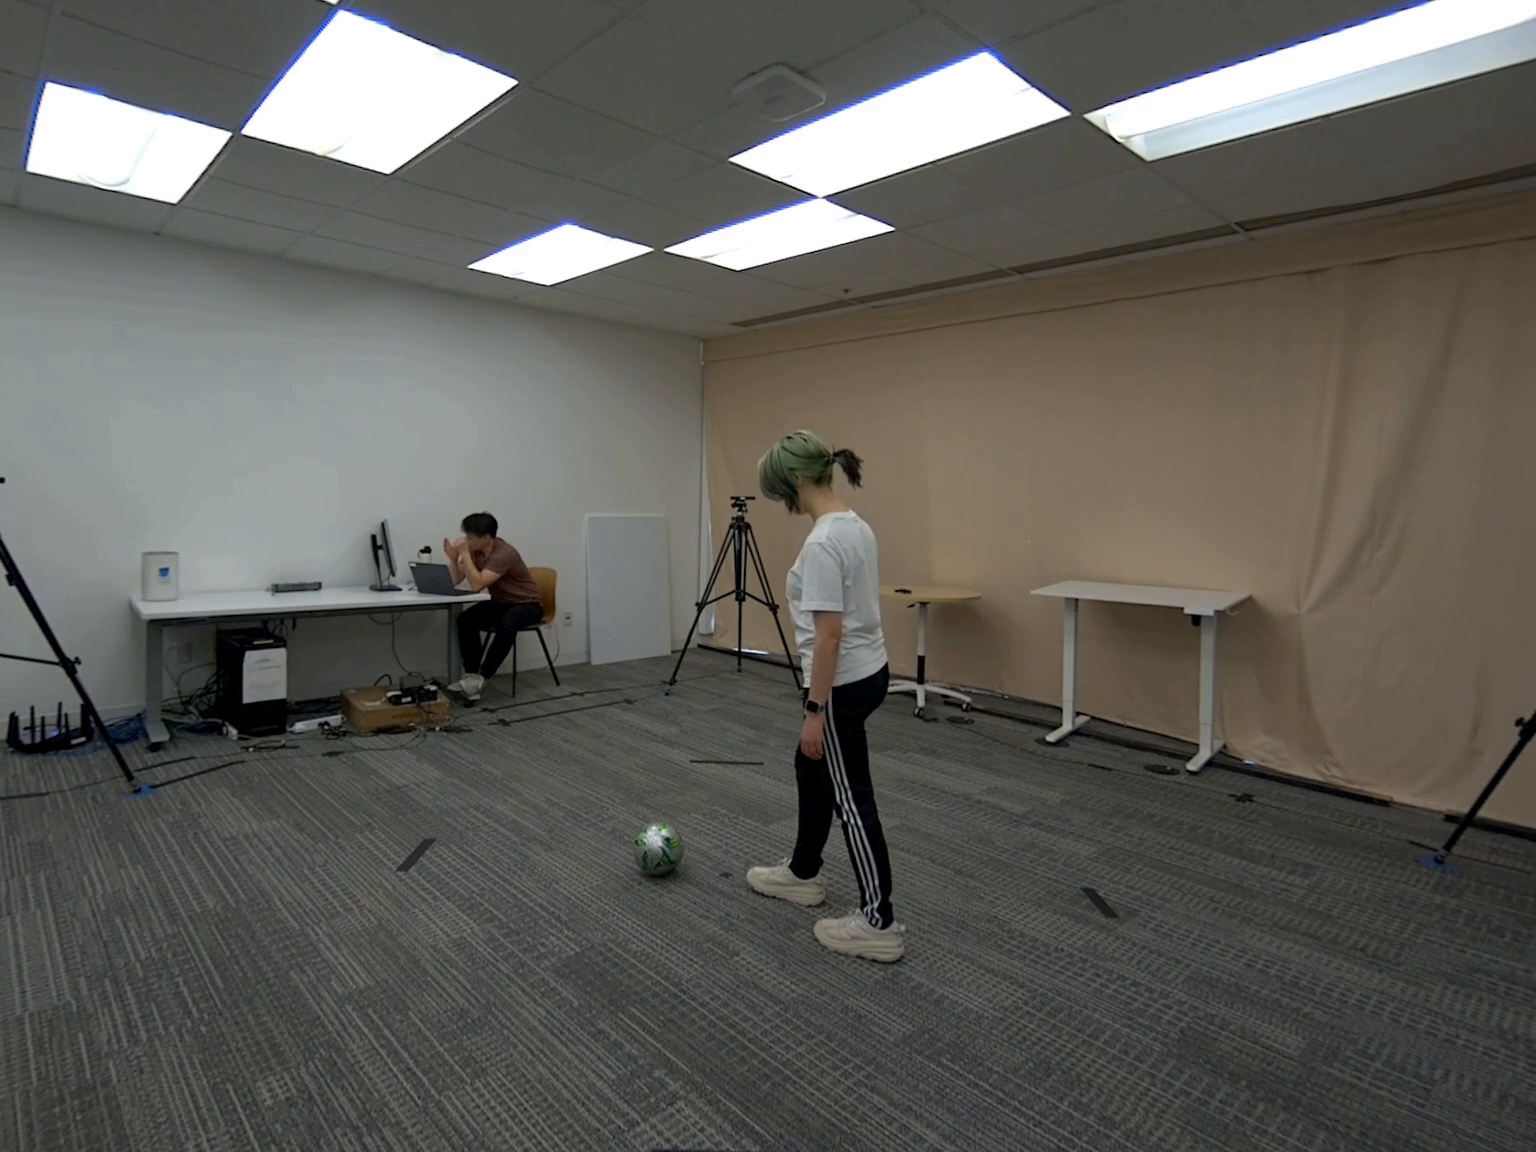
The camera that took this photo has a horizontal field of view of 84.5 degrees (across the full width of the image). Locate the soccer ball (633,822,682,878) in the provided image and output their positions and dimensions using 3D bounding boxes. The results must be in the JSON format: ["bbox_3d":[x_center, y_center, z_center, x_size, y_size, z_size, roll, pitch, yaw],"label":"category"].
[{"bbox_3d":[-0.409,1.004,3.107,0.187,0.187,0.188,1,4,-1],"label":"soccer ball"}]
